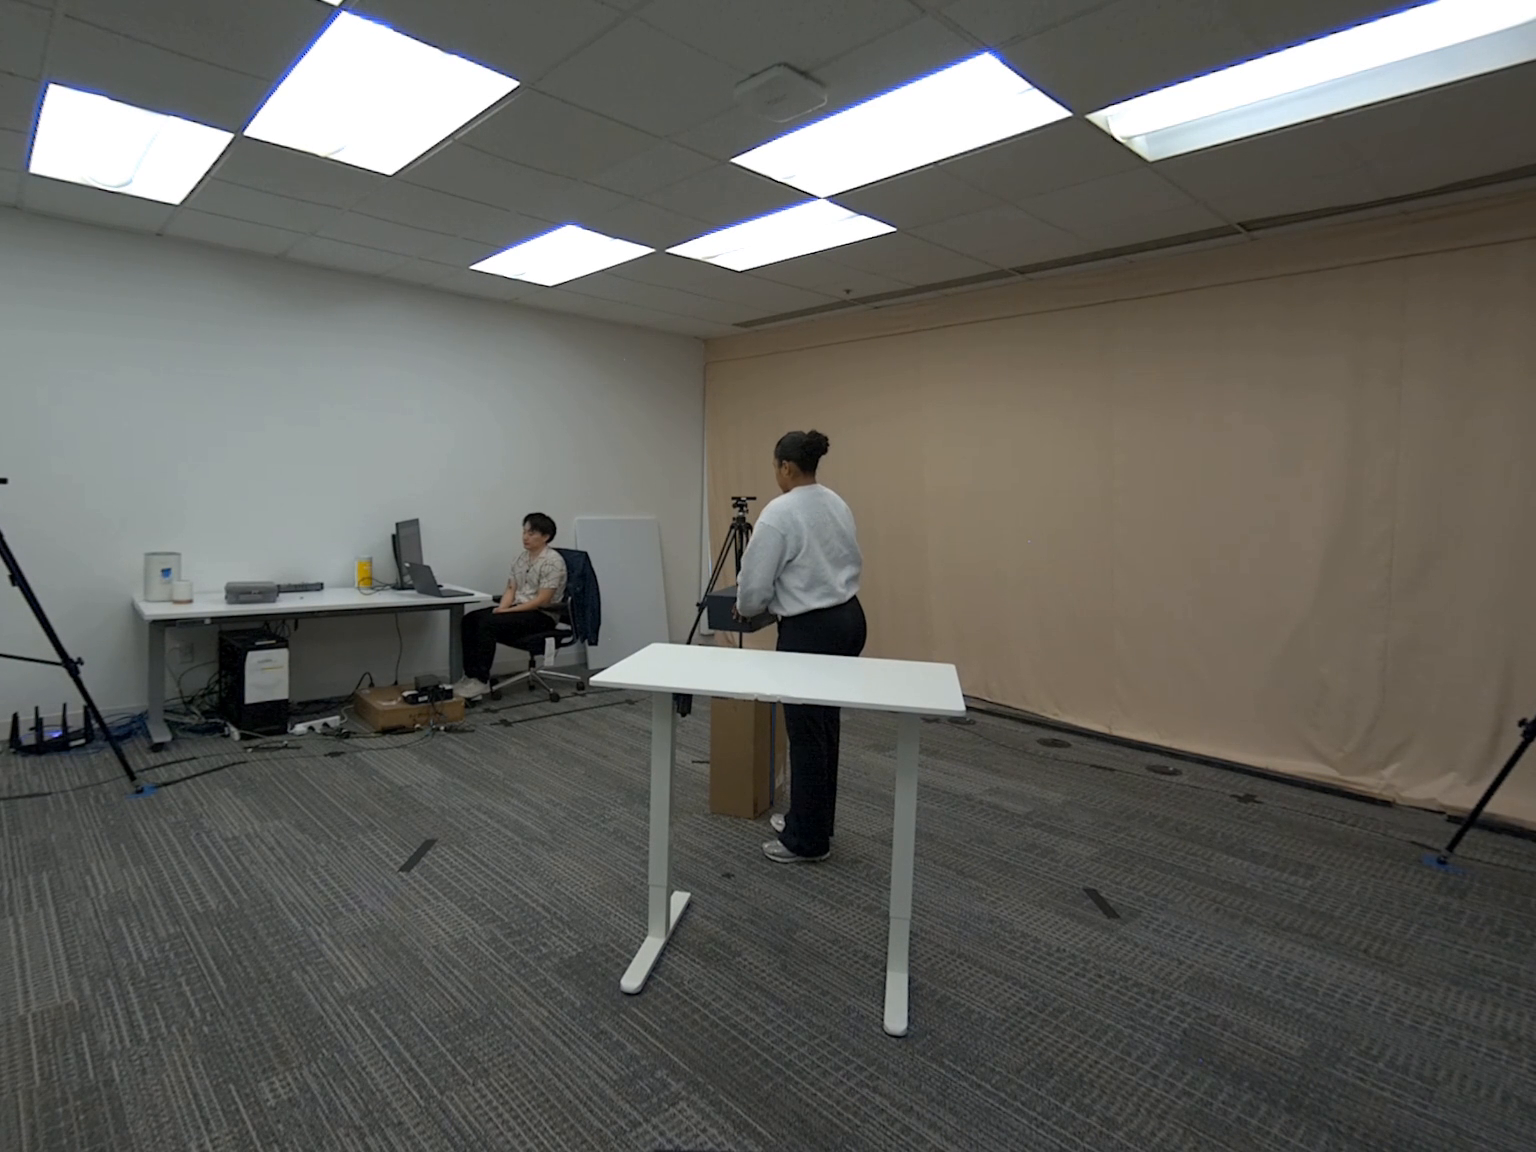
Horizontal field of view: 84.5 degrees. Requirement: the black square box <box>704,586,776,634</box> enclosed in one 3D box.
[{"bbox_3d":[-0.129,0.143,3.657,0.221,0.155,0.225,3,12,28],"label":"black square box"}]
